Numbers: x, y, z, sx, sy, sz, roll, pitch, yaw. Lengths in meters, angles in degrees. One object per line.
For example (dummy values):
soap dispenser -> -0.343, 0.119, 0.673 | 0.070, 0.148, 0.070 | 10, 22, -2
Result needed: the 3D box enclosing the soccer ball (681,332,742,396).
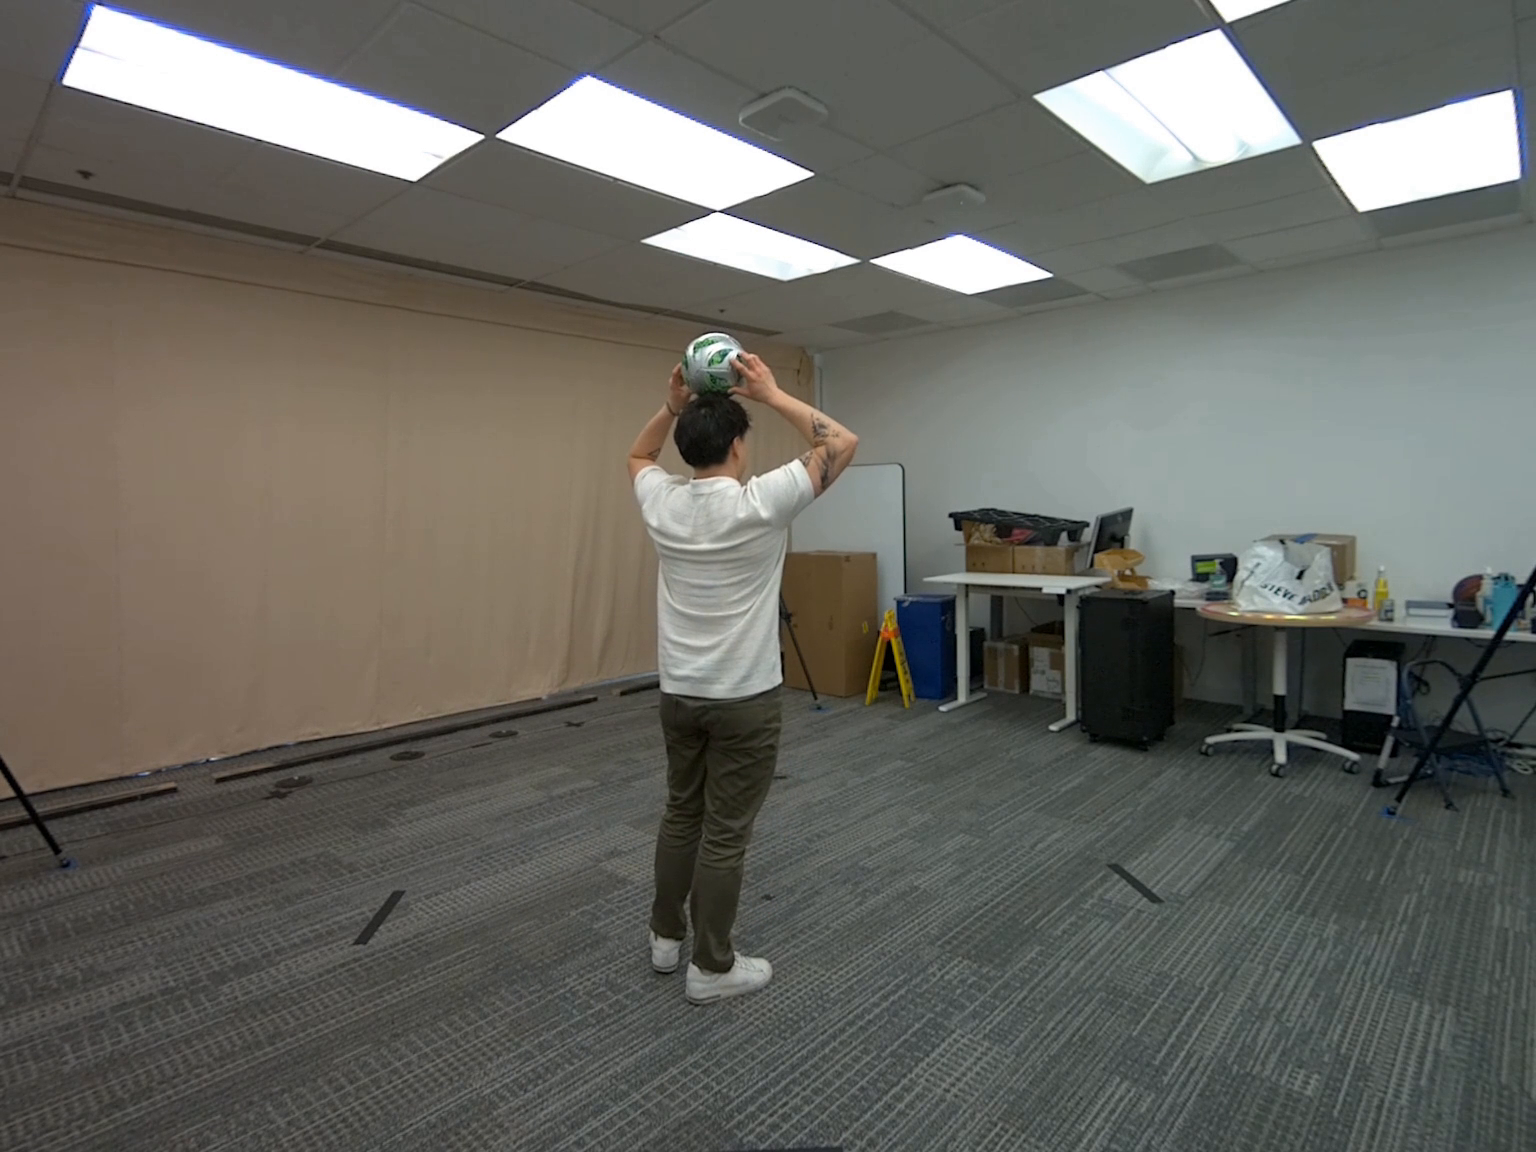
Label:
soccer ball -> -0.150, -0.586, 2.361 | 0.187, 0.187, 0.188 | -1, 4, -2
